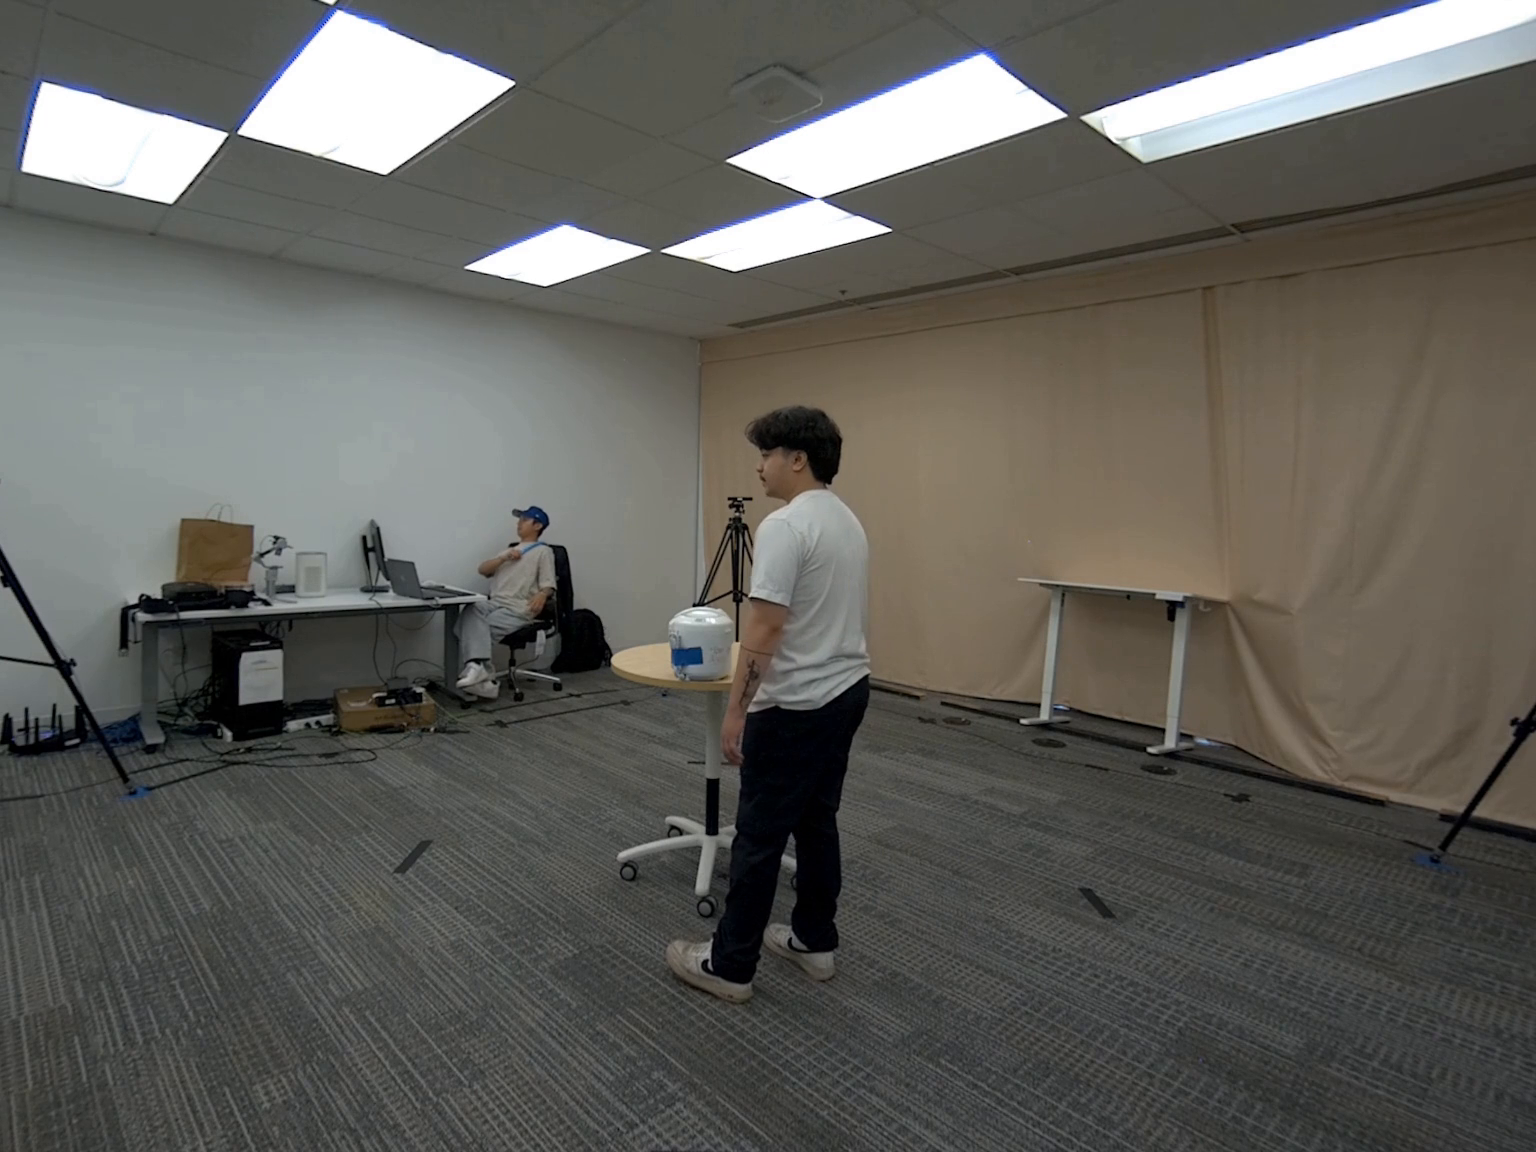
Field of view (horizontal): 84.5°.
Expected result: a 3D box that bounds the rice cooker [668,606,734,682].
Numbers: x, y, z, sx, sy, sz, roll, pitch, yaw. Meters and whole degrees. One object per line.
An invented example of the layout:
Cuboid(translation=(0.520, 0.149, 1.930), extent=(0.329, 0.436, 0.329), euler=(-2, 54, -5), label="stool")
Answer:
Cuboid(translation=(-0.228, 0.221, 2.816), extent=(0.219, 0.232, 0.219), euler=(2, 6, -6), label="rice cooker")
